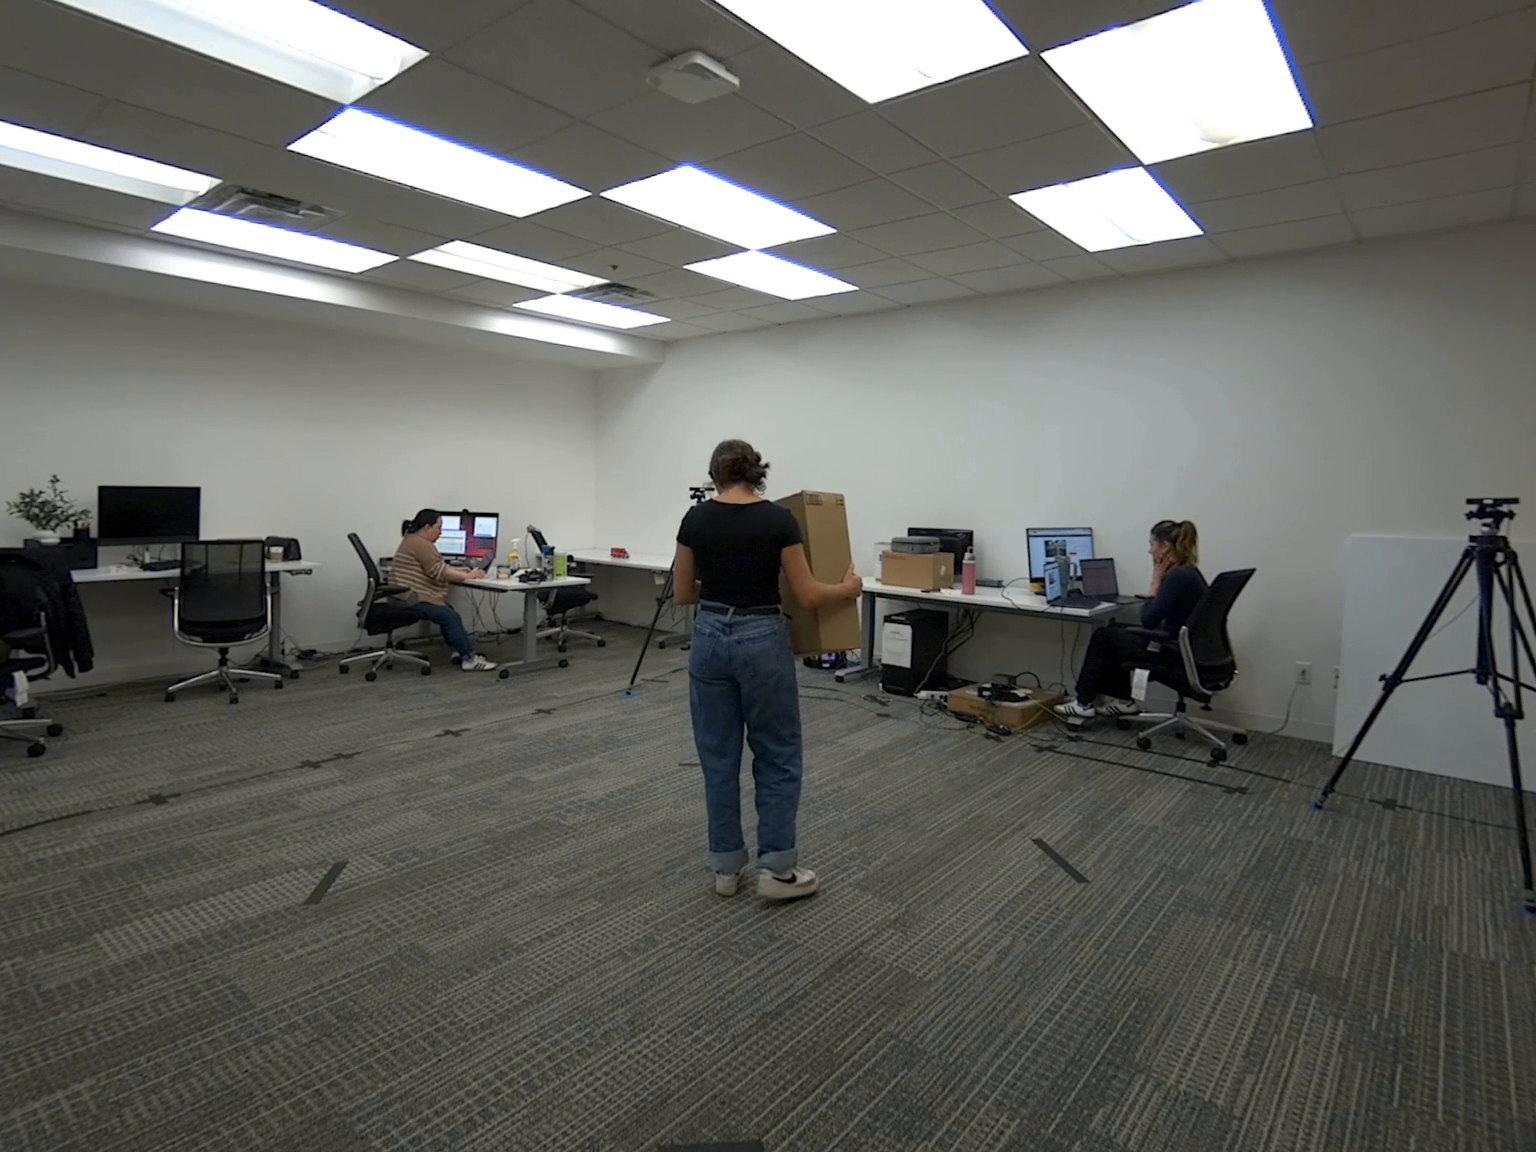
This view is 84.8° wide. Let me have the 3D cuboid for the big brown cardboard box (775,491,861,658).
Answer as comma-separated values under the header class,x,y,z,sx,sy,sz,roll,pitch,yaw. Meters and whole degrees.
class,x,y,z,sx,sy,sz,roll,pitch,yaw
big brown cardboard box,0.093,0.006,3.169,0.225,0.595,0.427,4,-13,-43
